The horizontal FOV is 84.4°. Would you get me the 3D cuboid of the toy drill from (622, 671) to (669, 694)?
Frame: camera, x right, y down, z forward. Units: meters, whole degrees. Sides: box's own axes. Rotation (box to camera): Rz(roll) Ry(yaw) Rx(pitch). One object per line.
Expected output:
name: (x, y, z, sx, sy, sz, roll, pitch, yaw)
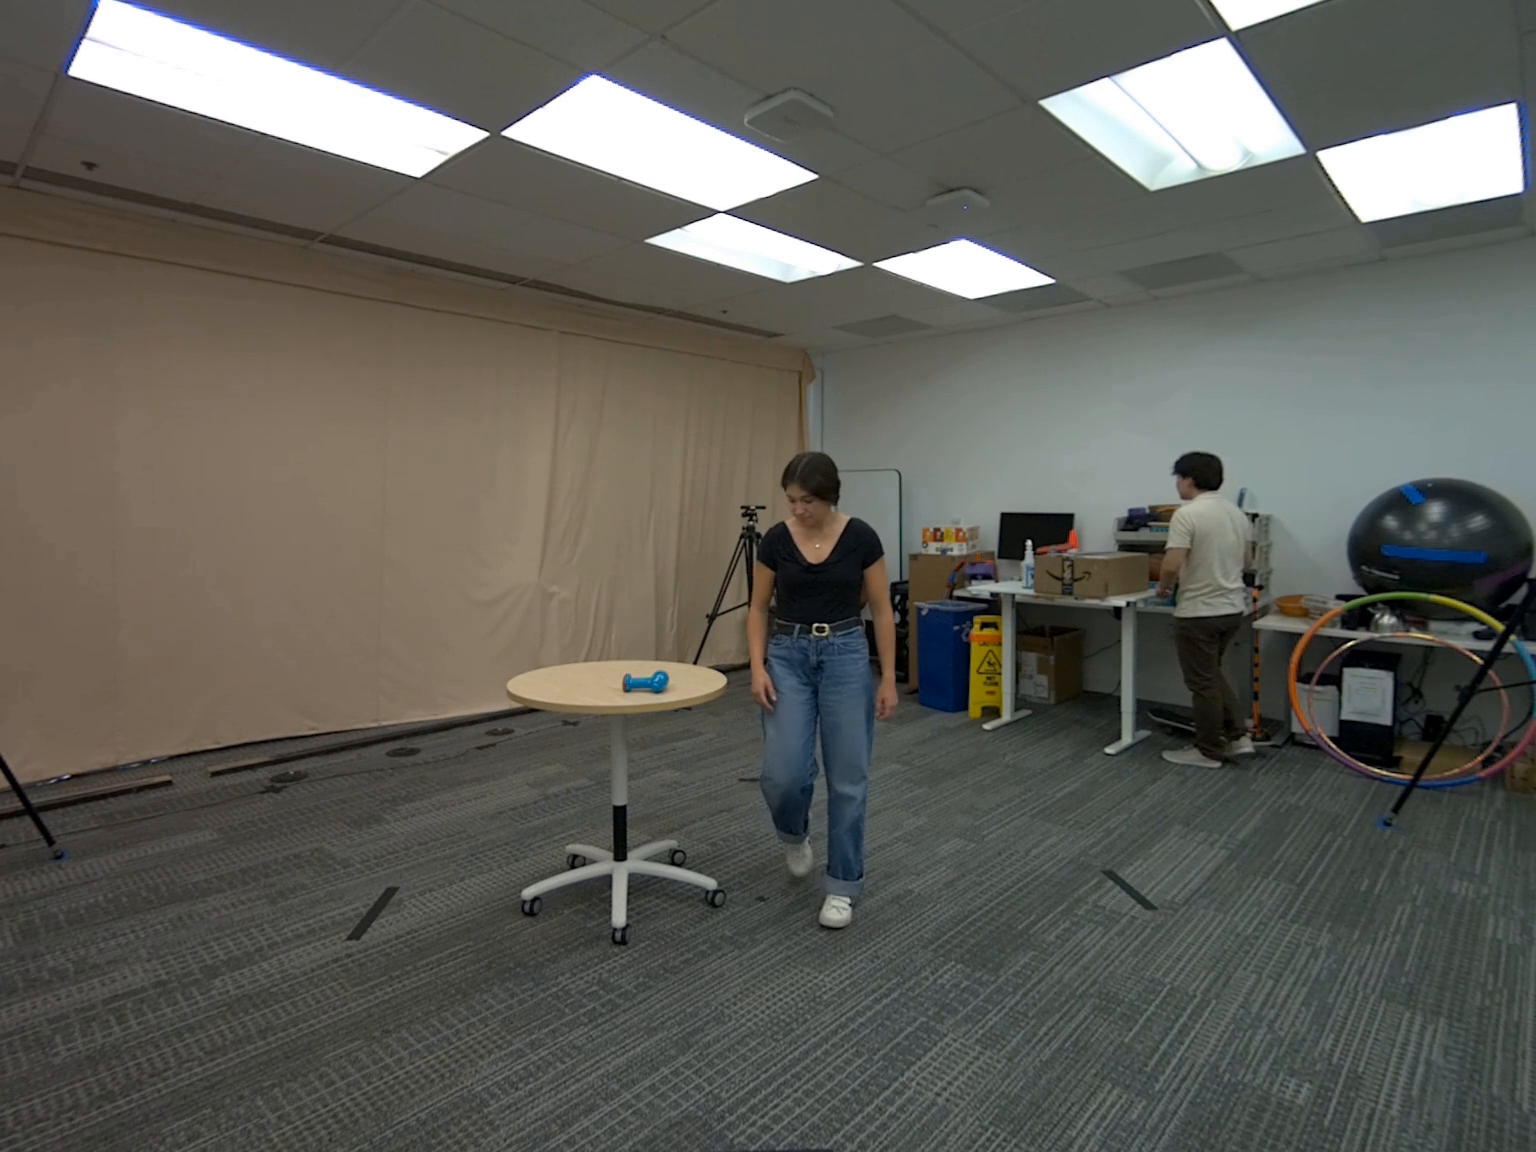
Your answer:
toy drill: (-0.386, 0.351, 2.823, 0.147, 0.061, 0.170, -1, 12, 7)
